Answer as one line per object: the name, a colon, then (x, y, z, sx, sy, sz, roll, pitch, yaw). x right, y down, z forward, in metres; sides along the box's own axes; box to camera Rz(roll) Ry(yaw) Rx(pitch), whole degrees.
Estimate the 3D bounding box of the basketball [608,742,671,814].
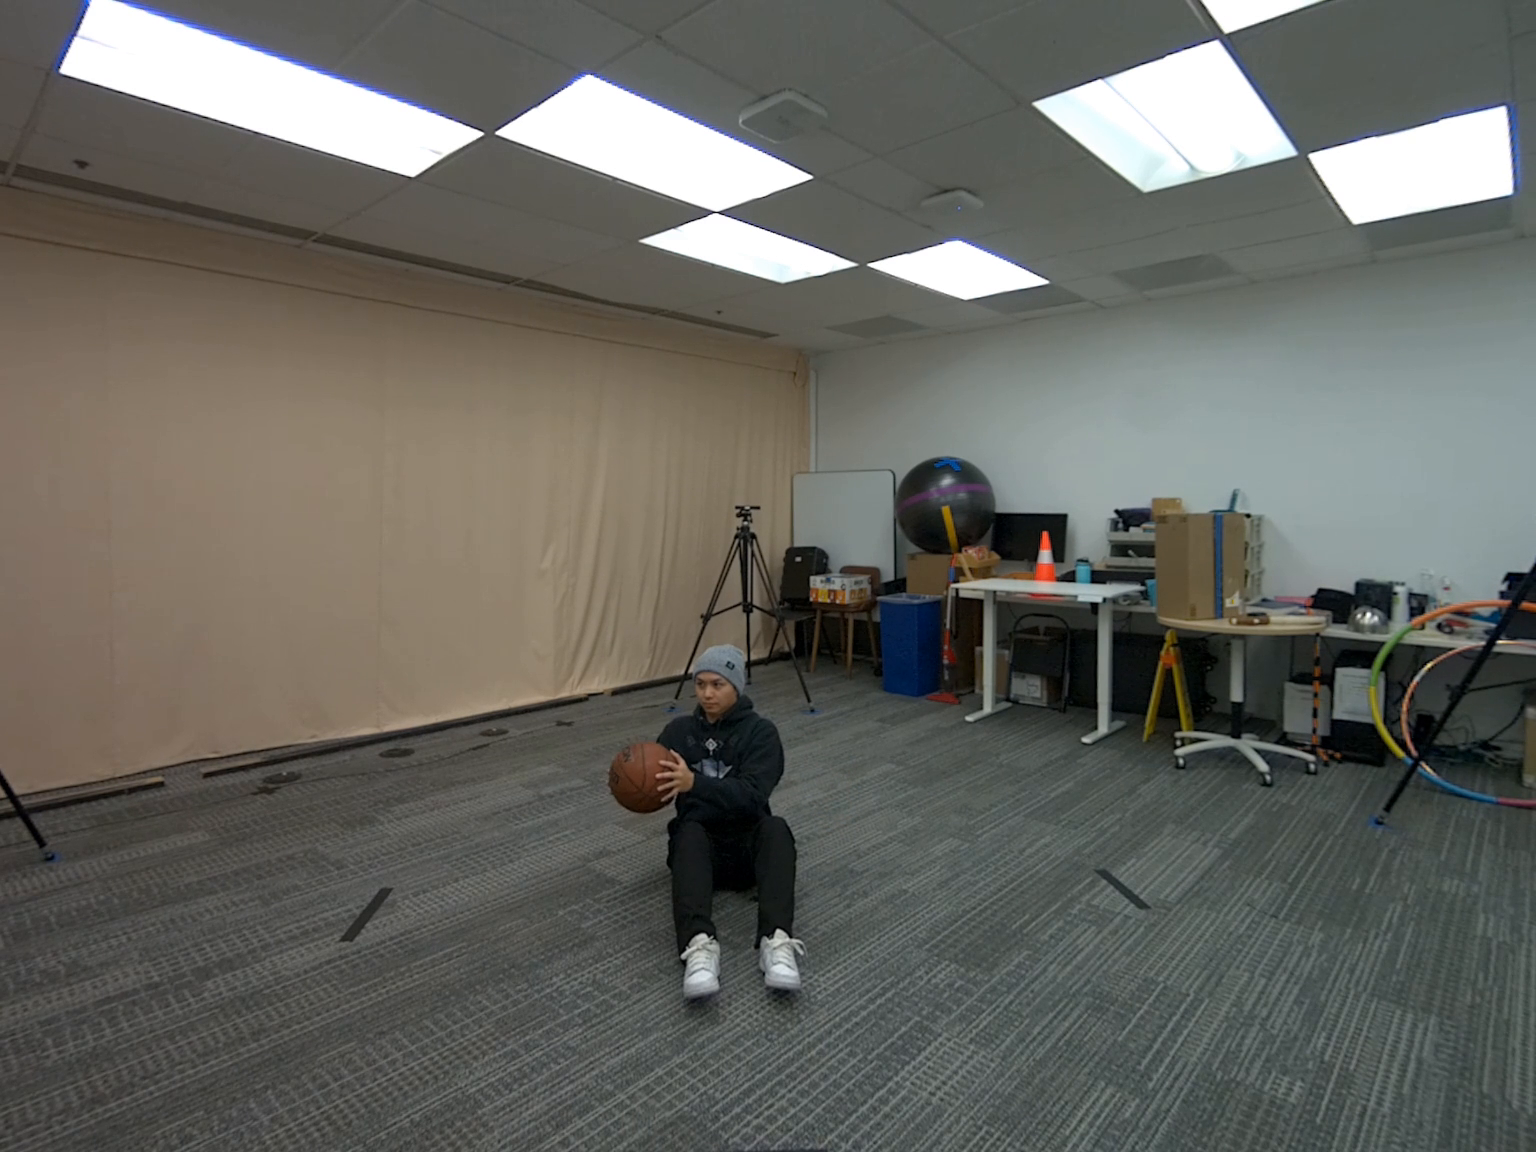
basketball: (-0.414, 0.682, 2.865, 0.236, 0.235, 0.237, 0, 4, -2)
